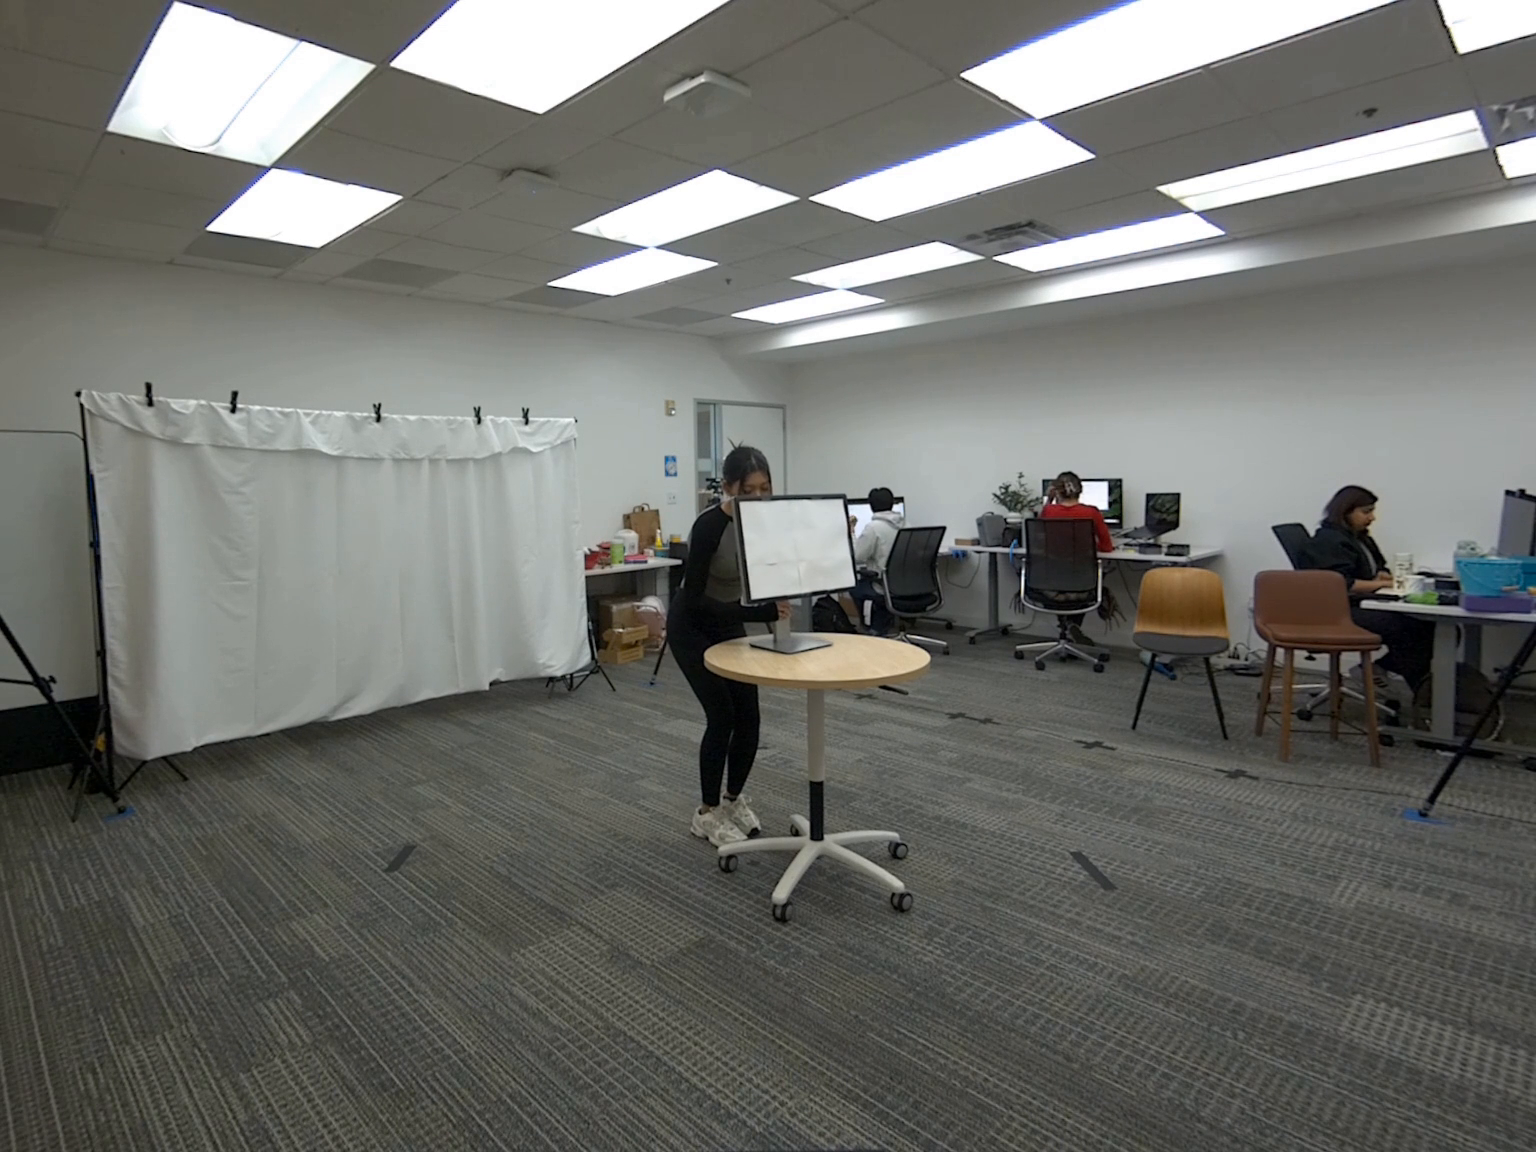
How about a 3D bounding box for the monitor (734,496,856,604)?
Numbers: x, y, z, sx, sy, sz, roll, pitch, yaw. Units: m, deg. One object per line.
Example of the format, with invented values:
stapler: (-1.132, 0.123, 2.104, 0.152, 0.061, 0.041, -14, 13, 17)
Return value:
monitor: (0.085, -0.016, 3.043, 0.525, 0.520, 0.193, -5, 9, -44)
